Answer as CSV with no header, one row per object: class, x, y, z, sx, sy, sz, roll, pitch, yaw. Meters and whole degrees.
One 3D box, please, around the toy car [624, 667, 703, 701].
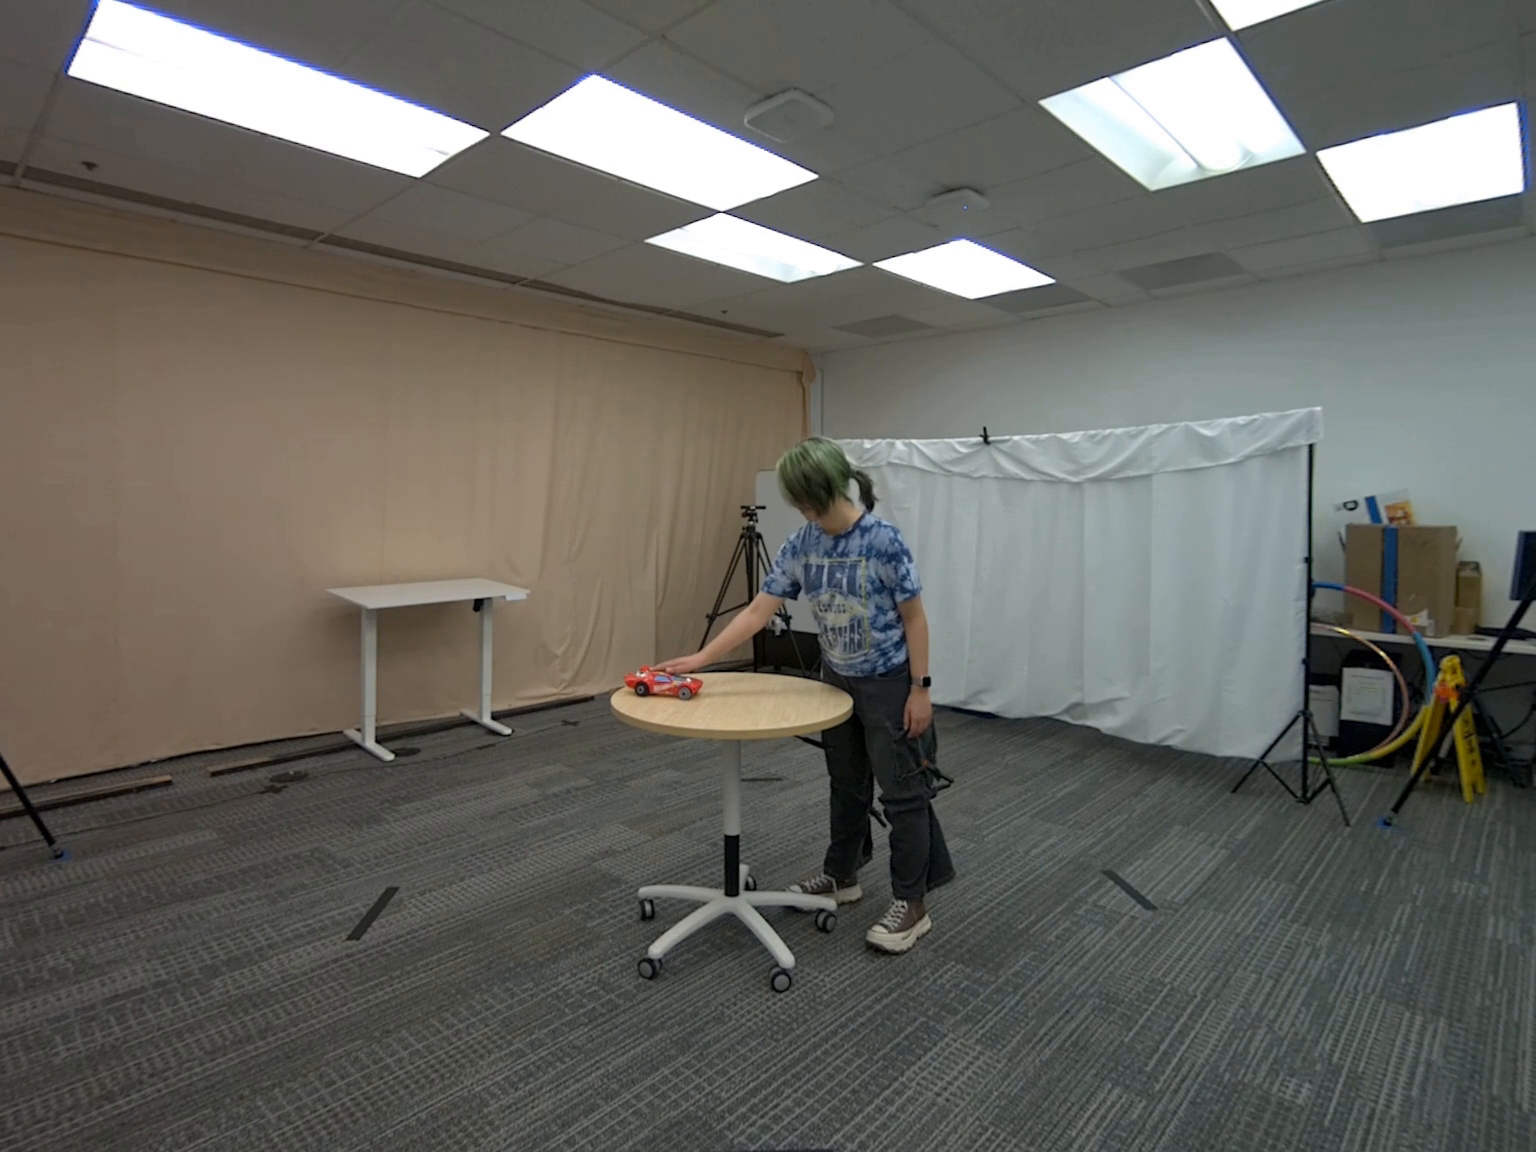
toy car,-0.337,0.354,2.715,0.258,0.083,0.129,13,6,12
